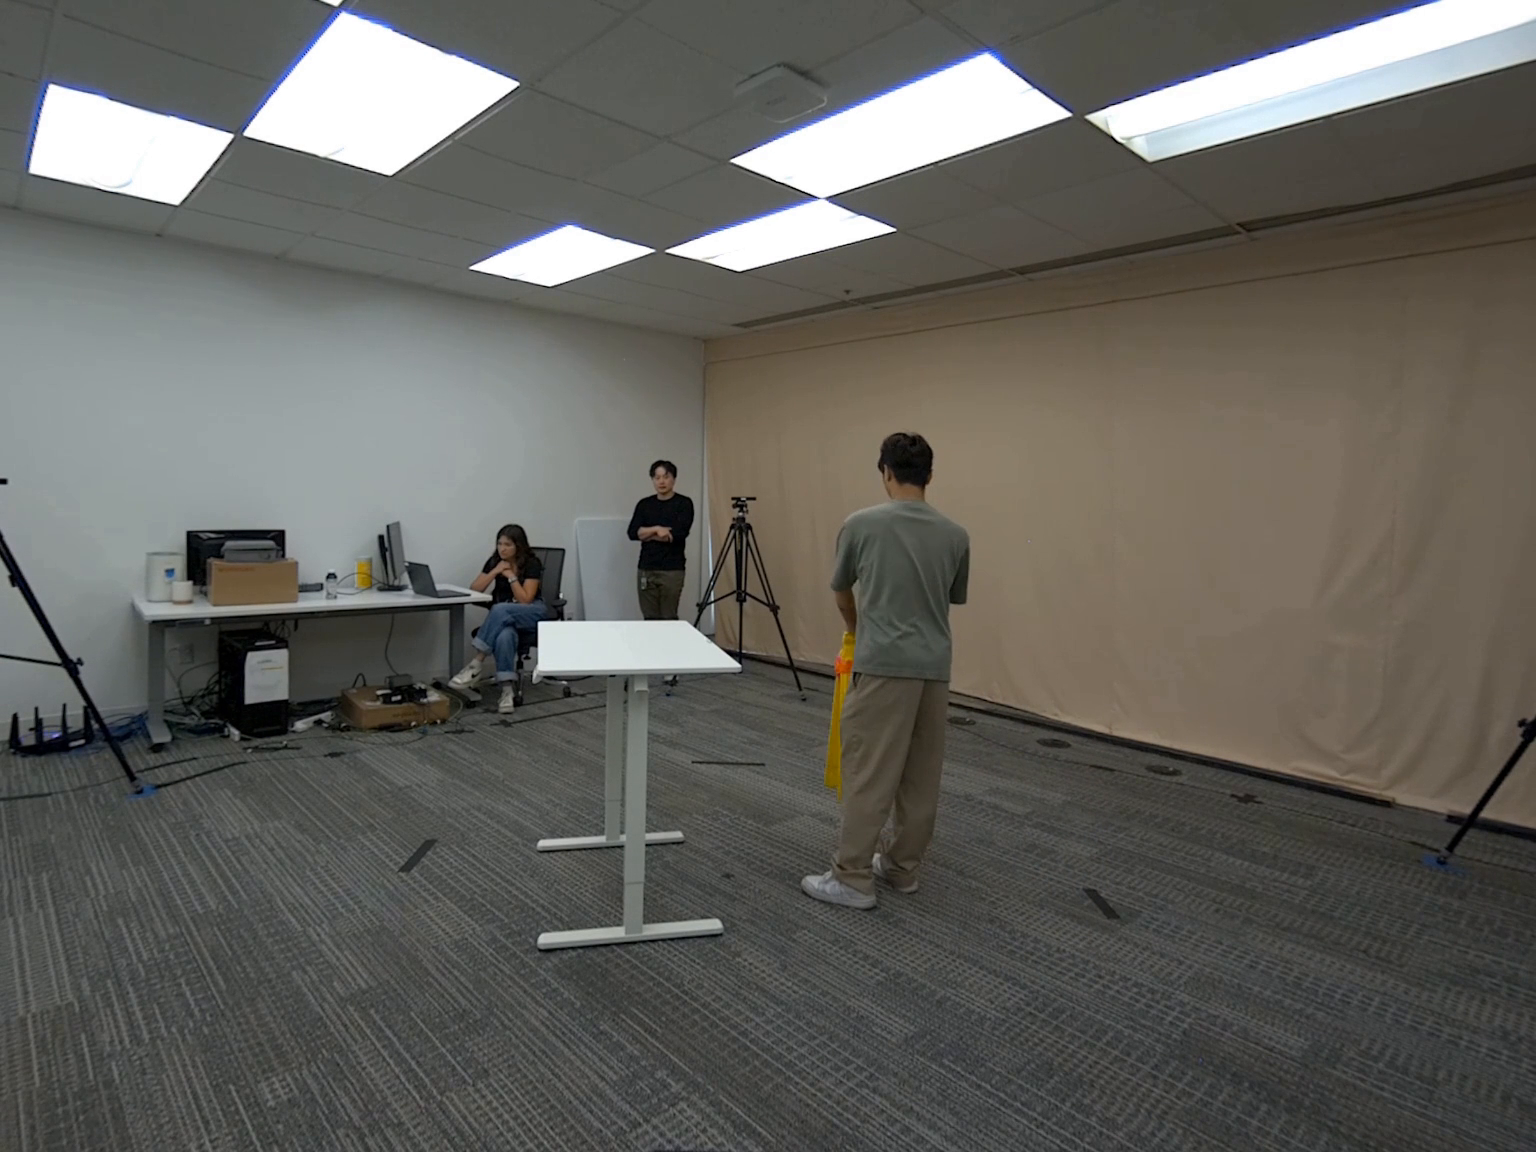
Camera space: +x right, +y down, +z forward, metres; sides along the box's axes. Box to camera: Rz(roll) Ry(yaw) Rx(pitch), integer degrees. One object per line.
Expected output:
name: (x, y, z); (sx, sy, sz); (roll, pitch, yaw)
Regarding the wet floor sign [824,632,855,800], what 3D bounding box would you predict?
wet floor sign: (0.399, 0.558, 3.388); (0.281, 0.647, 0.291); (2, -2, -7)
